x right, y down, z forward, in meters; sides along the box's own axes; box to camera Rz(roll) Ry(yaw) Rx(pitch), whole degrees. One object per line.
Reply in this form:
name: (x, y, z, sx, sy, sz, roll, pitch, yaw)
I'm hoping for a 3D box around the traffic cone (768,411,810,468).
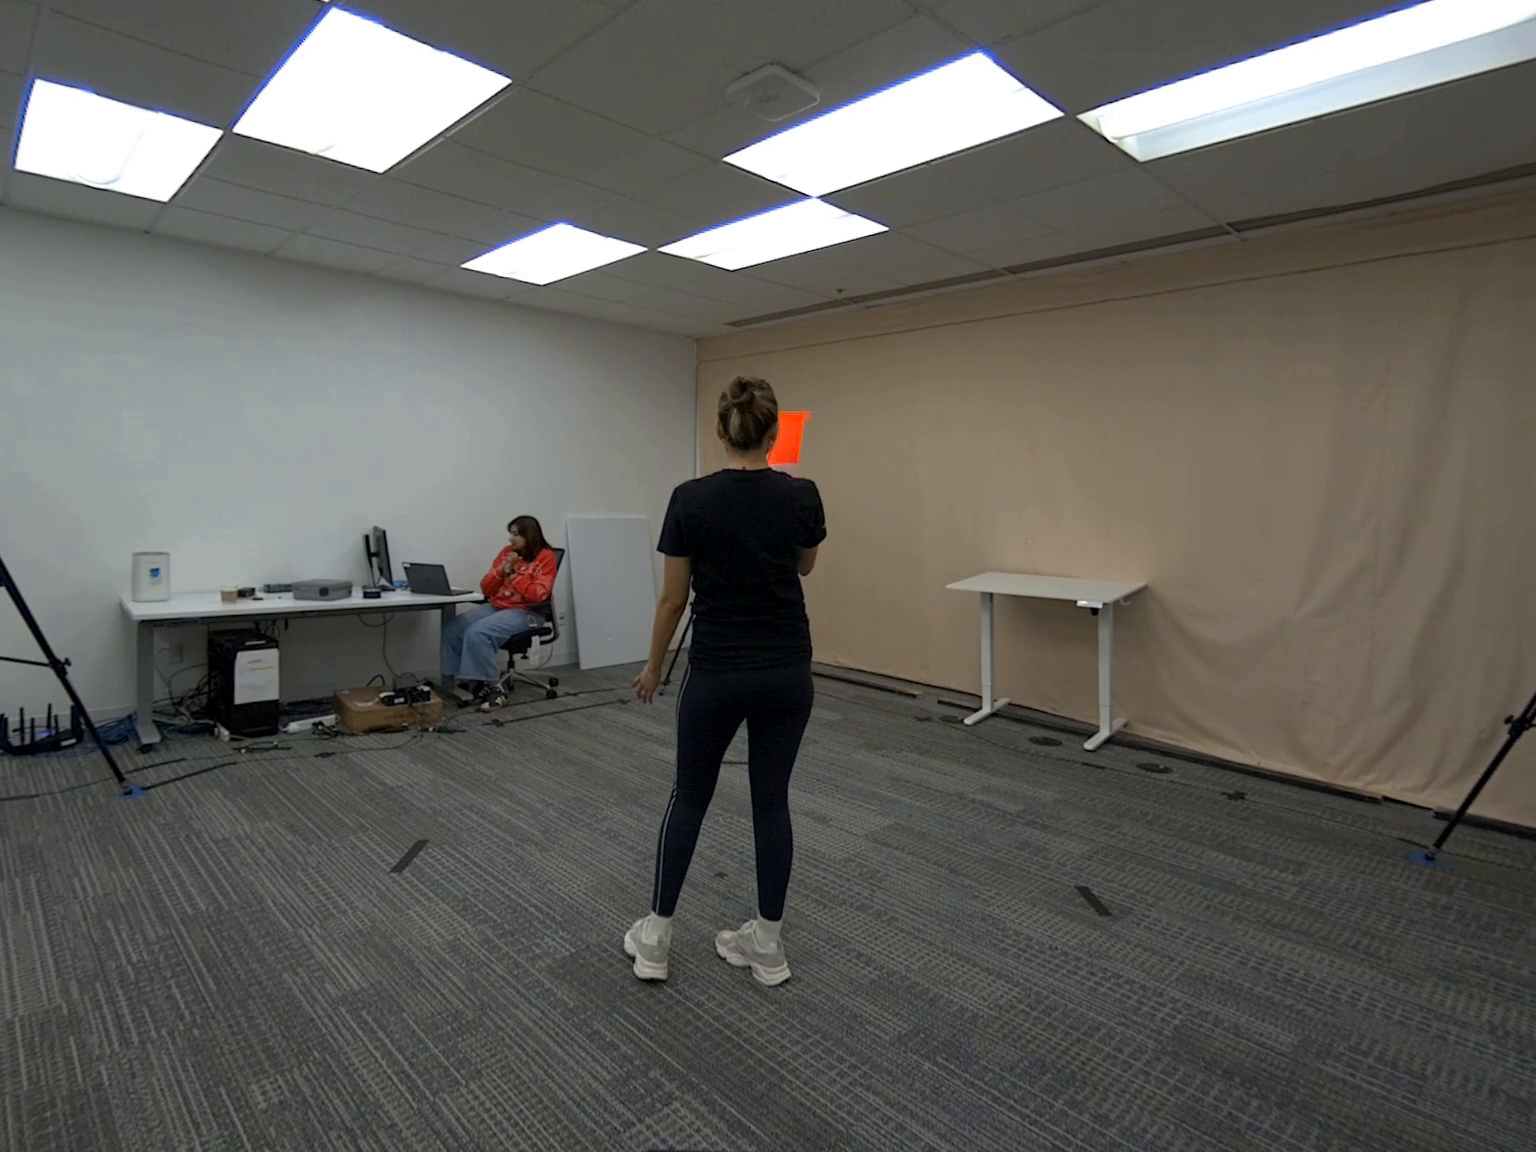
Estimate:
traffic cone: (0.045, -0.363, 2.906, 0.204, 0.383, 0.205, -2, 2, 2)
